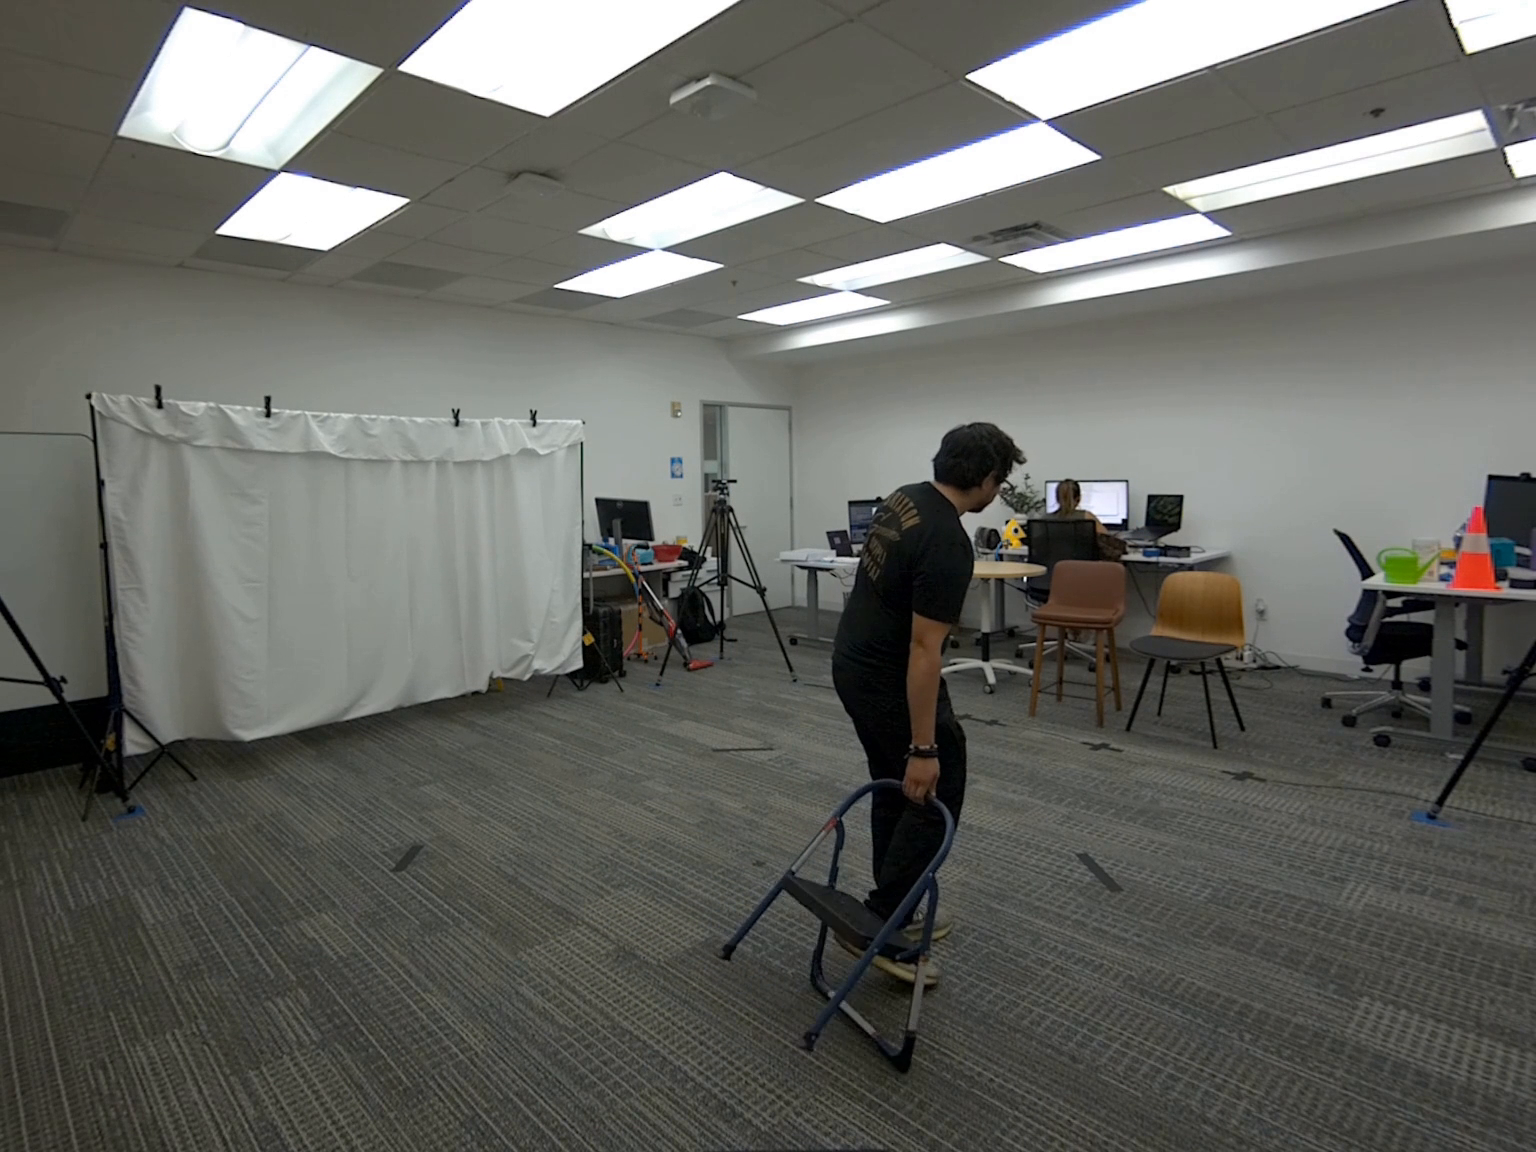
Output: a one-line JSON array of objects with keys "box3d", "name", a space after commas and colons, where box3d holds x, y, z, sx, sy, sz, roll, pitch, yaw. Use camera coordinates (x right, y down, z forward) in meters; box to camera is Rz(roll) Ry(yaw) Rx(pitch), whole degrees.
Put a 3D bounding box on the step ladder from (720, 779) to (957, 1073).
[{"box3d": [0.230, 0.813, 2.162, 0.339, 0.608, 0.442, 29, -9, -27], "name": "step ladder"}]
